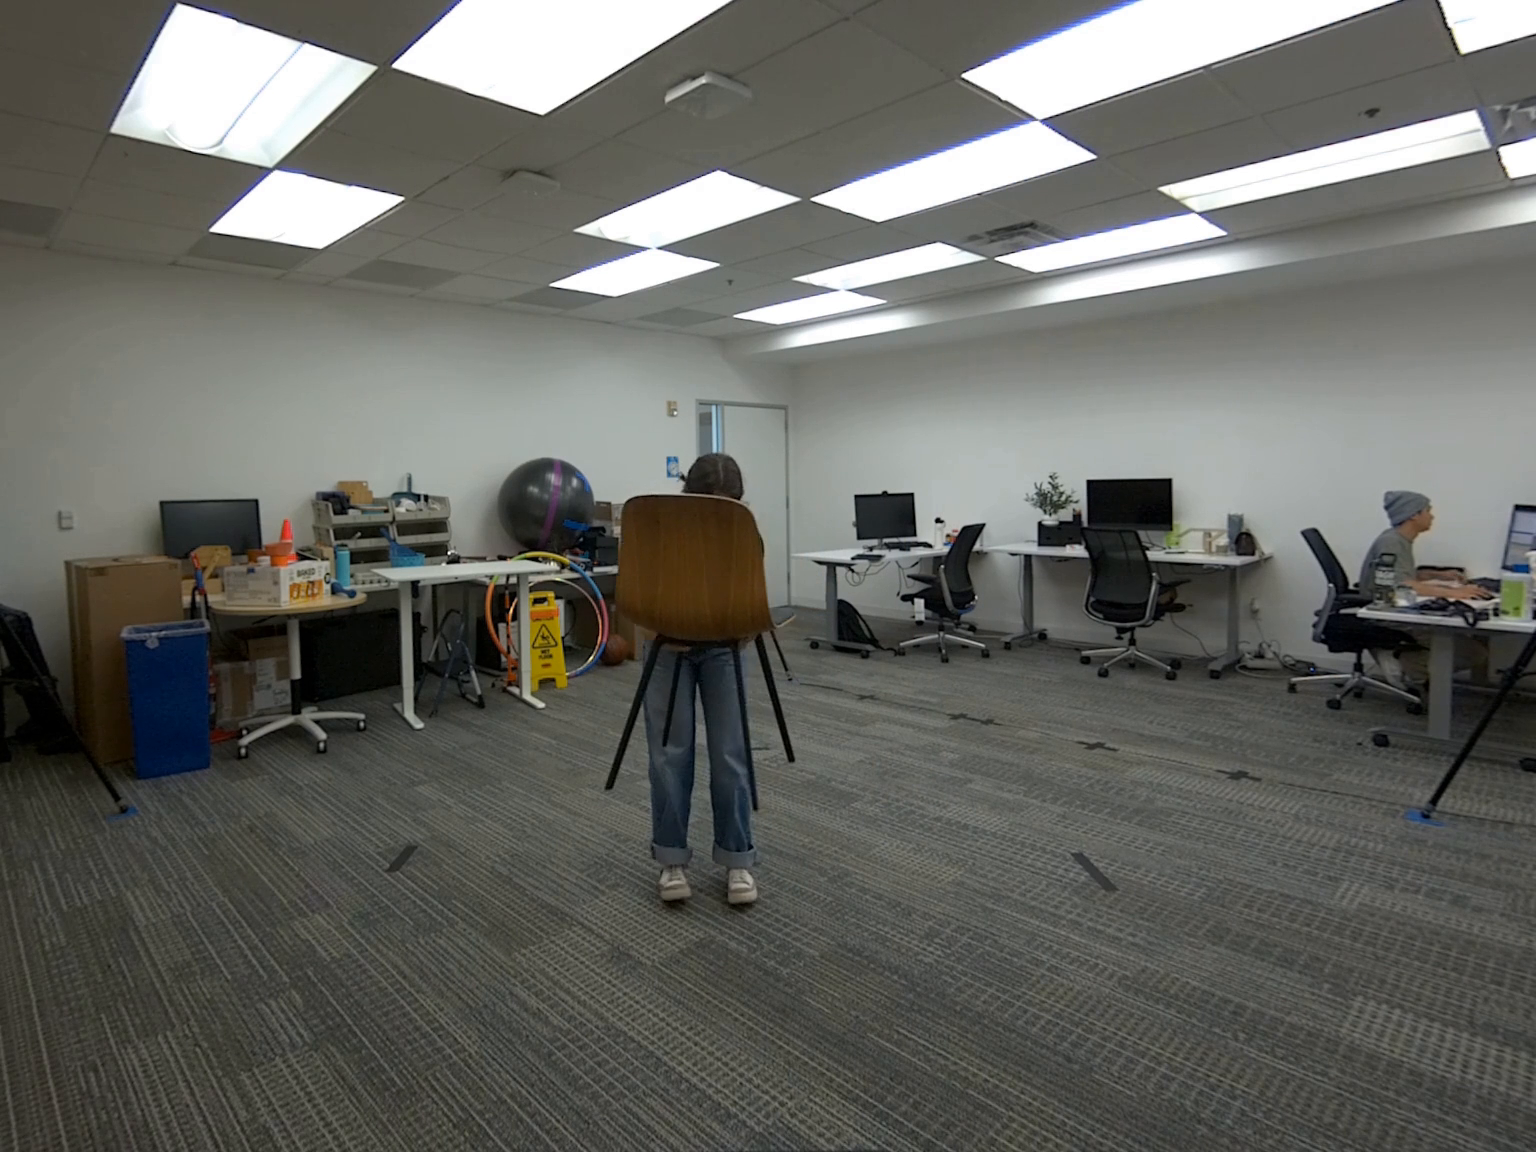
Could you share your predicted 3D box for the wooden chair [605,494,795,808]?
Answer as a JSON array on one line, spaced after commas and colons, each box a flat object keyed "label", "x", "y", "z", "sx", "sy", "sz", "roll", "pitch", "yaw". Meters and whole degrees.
[{"label": "wooden chair", "x": -0.174, "y": 0.191, "z": 2.545, "sx": 0.486, "sy": 0.872, "sz": 0.518, "roll": 3, "pitch": 7, "yaw": 16}]
